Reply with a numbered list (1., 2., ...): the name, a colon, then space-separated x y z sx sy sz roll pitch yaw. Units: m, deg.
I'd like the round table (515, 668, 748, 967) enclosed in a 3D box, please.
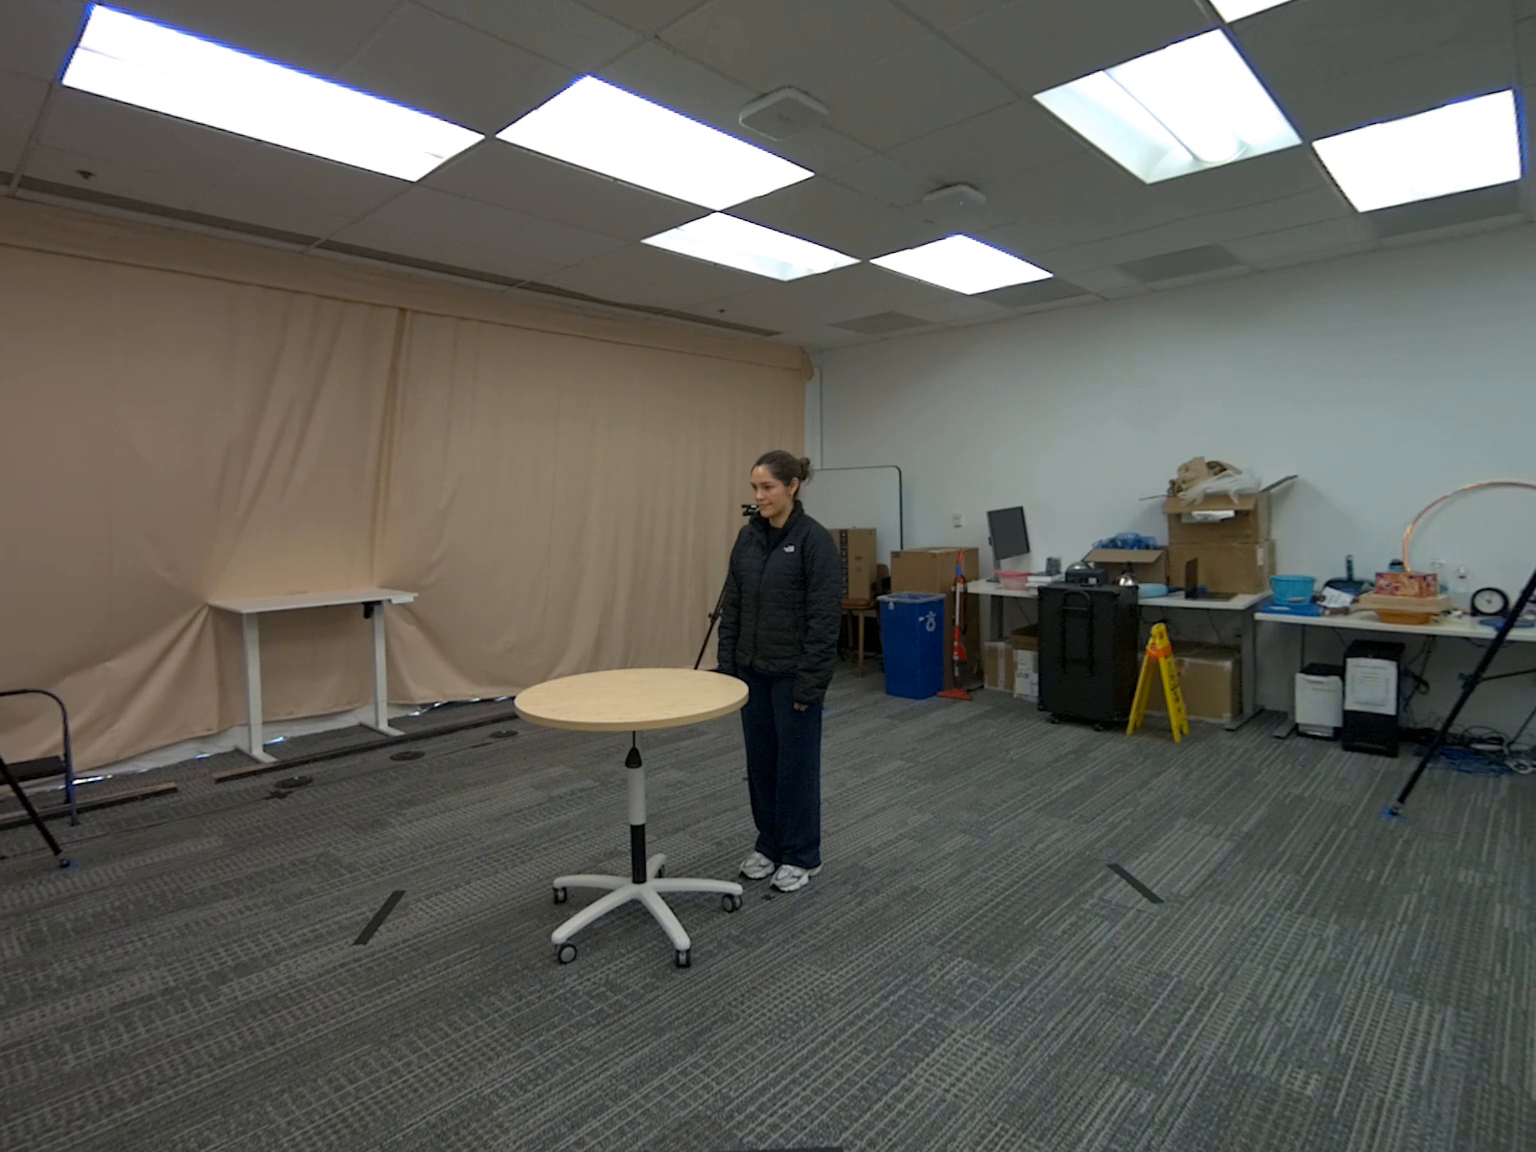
1. round table: -0.413 0.772 2.804 0.784 0.784 0.788 -2 4 -2
